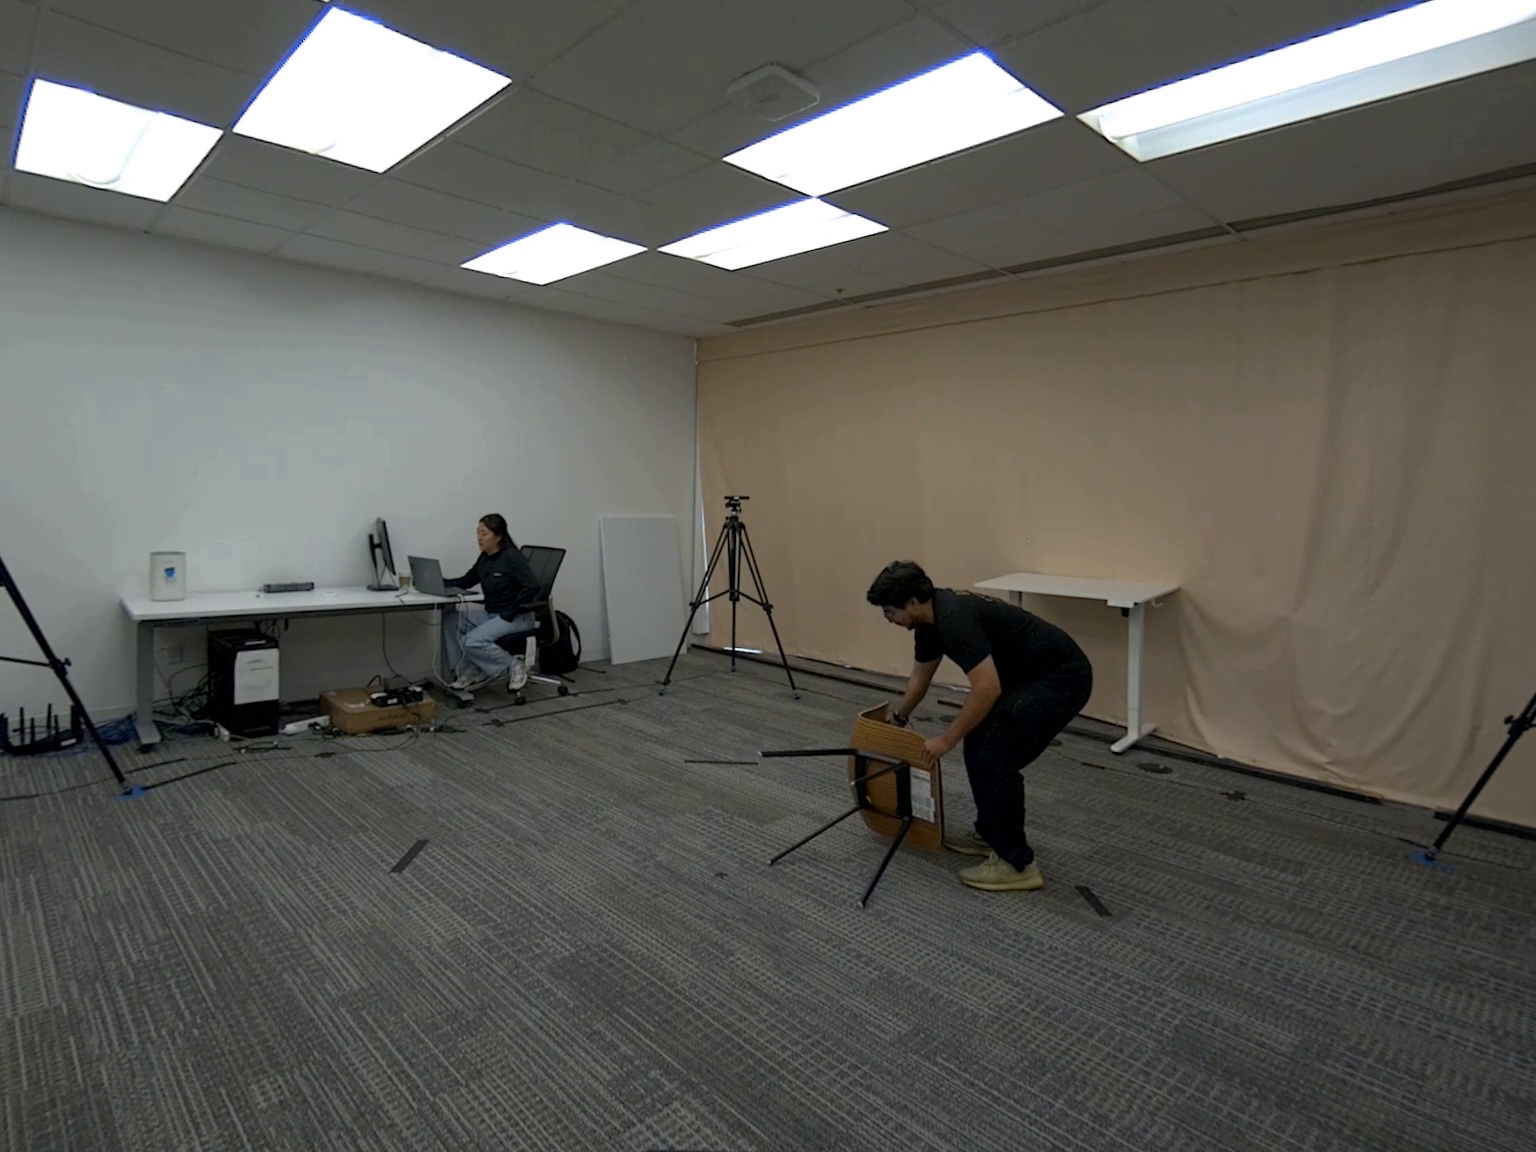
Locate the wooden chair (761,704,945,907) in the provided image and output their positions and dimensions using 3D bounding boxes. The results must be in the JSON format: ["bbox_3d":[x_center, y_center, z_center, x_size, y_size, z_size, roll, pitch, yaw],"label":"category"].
[{"bbox_3d":[0.443,0.821,3.285,0.536,0.475,0.862,4,12,41],"label":"wooden chair"}]
